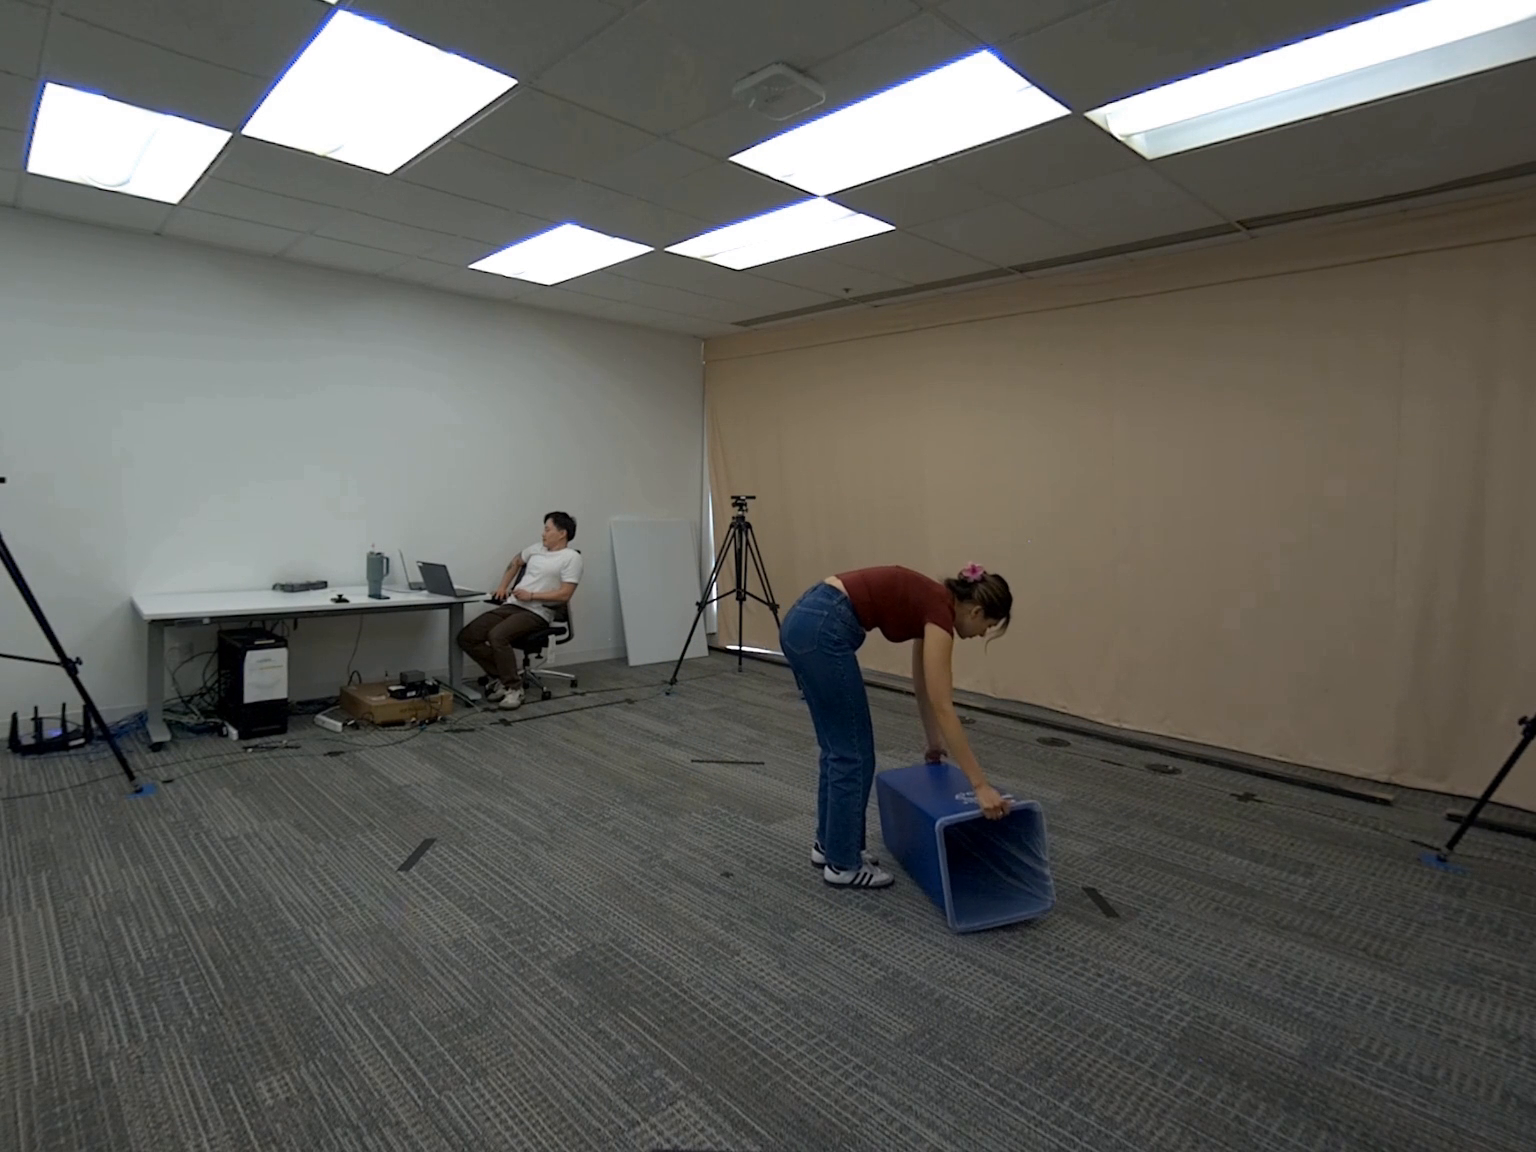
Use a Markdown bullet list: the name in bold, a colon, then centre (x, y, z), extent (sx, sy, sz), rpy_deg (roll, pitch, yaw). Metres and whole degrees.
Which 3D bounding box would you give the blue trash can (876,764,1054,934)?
- **blue trash can**: centre (0.654, 0.927, 3.069), extent (0.371, 0.378, 0.719), rpy_deg (-8, 2, -11)
